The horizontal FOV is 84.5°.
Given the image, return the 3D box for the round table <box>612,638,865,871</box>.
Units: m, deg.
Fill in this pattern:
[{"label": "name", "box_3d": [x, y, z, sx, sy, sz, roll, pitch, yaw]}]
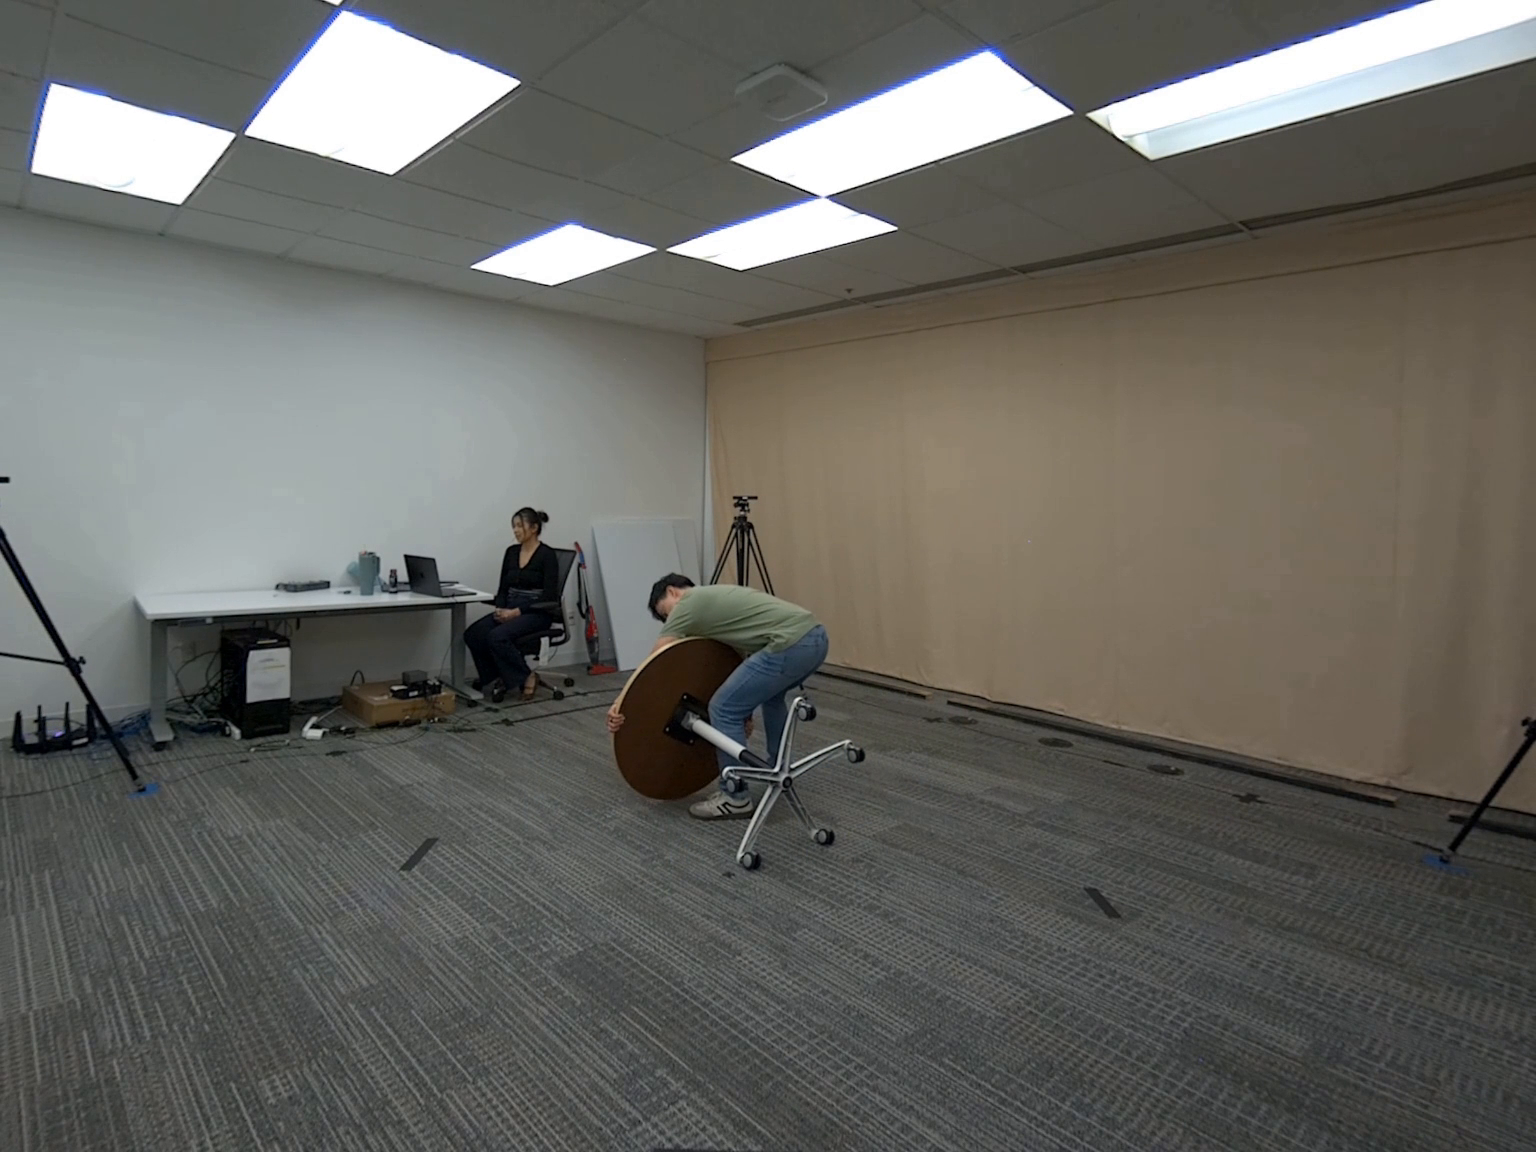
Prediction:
[{"label": "round table", "box_3d": [-0.137, 0.734, 3.510, 0.747, 0.759, 0.817, -2, 13, -39]}]
